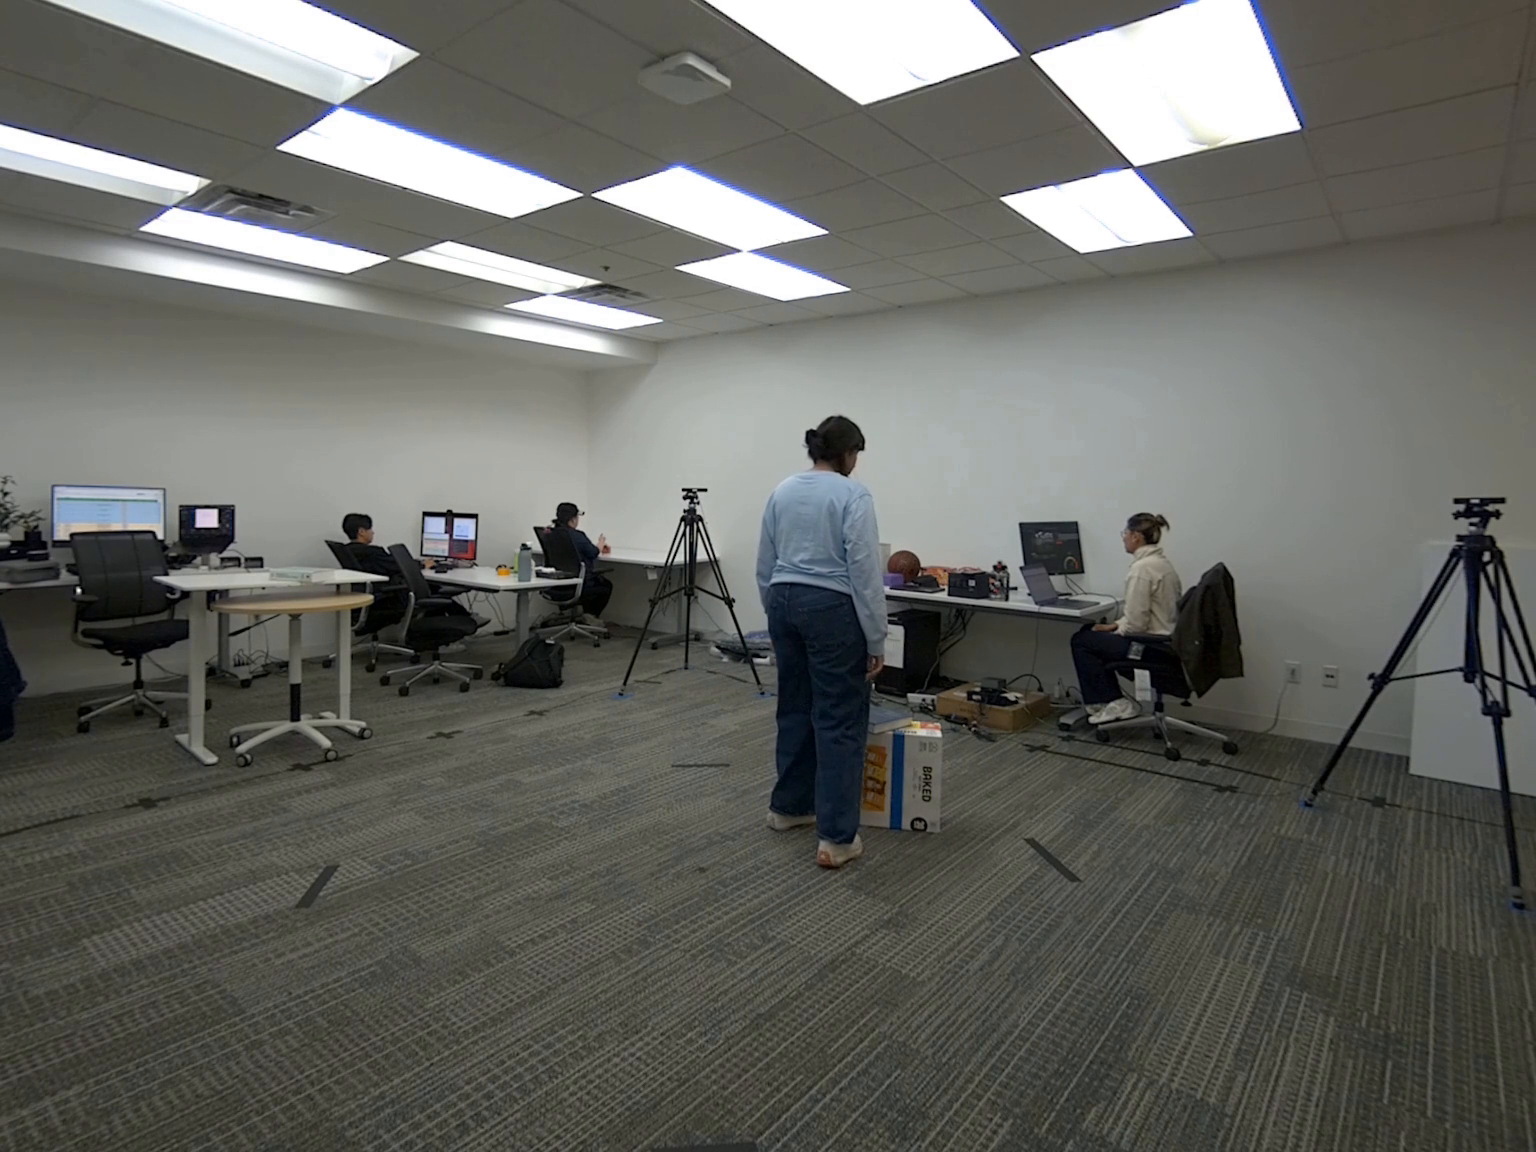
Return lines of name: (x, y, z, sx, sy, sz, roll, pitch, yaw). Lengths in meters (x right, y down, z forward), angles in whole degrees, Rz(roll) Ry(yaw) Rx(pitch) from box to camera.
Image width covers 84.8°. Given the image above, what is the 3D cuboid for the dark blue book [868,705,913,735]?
dark blue book: (0.469, 0.610, 3.615, 0.238, 0.045, 0.169, -3, 9, -39)
